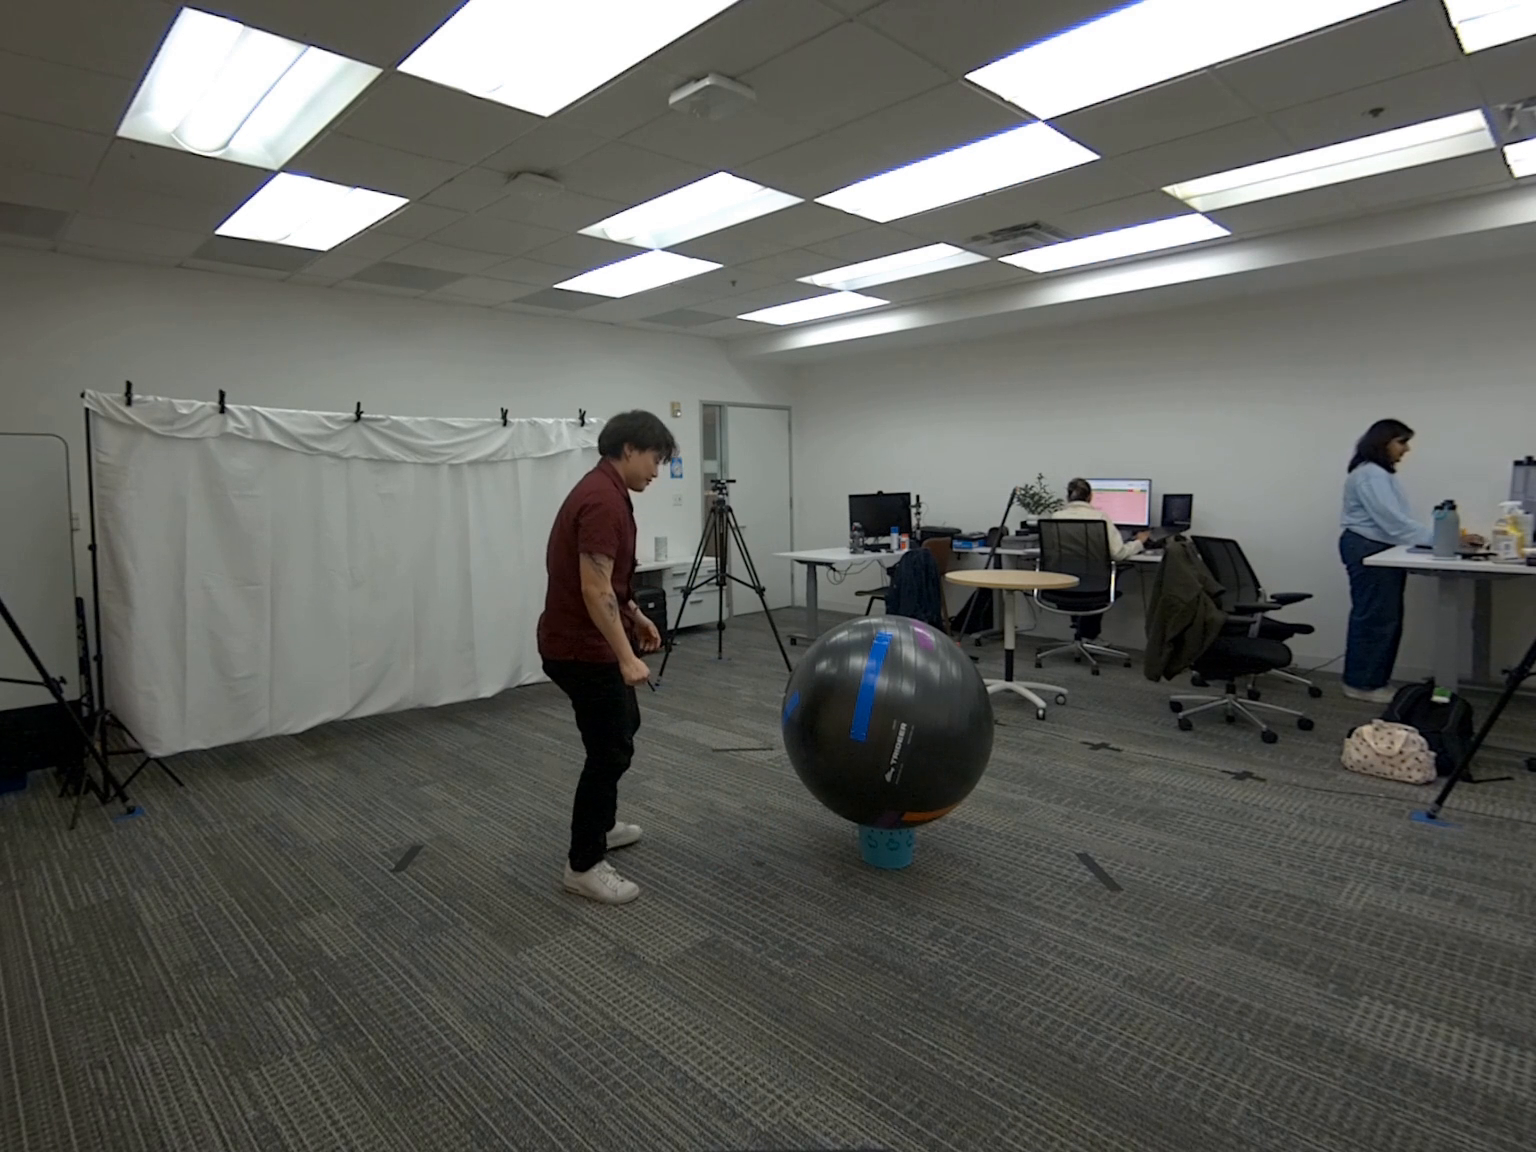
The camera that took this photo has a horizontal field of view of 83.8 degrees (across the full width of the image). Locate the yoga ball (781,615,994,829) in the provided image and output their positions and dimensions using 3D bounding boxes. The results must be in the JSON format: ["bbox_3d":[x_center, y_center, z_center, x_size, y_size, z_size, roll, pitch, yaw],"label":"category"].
[{"bbox_3d":[0.437,0.528,3.120,0.757,0.755,0.762,-1,5,-2],"label":"yoga ball"}]
